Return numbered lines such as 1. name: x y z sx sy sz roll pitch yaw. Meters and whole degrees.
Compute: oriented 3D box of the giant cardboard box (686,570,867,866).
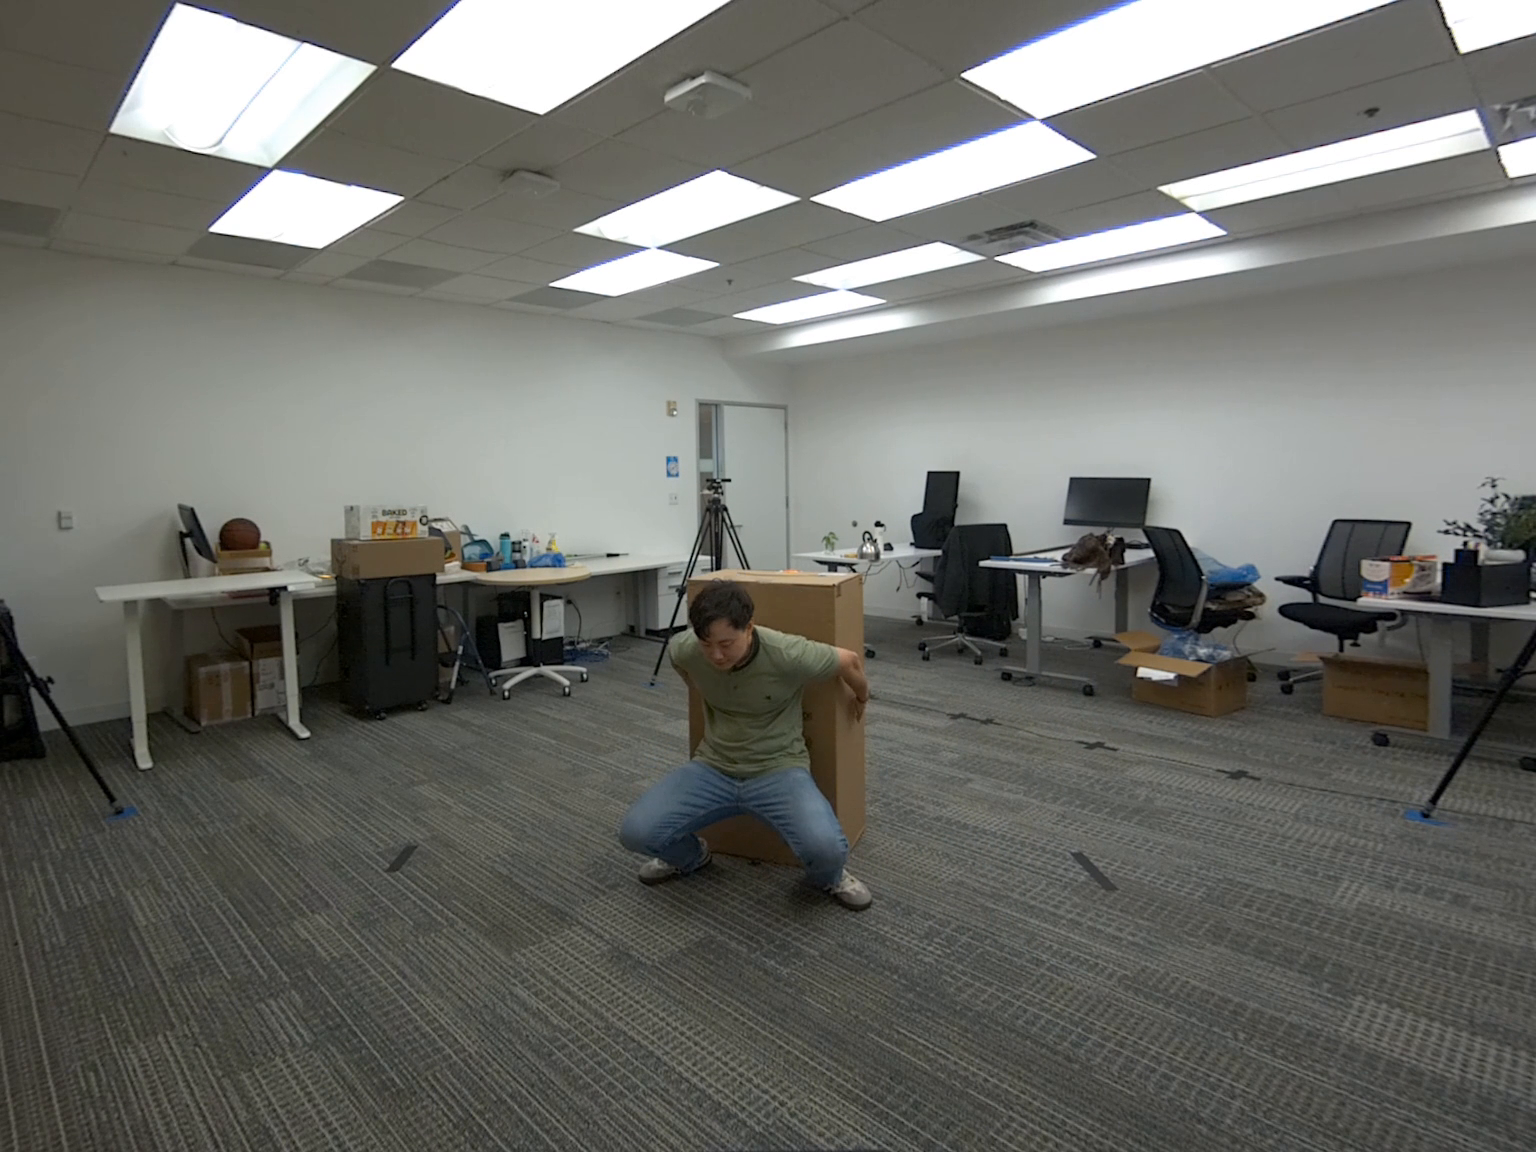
1. giant cardboard box: 0.045 0.506 3.297 0.590 1.023 0.419 1 4 22
